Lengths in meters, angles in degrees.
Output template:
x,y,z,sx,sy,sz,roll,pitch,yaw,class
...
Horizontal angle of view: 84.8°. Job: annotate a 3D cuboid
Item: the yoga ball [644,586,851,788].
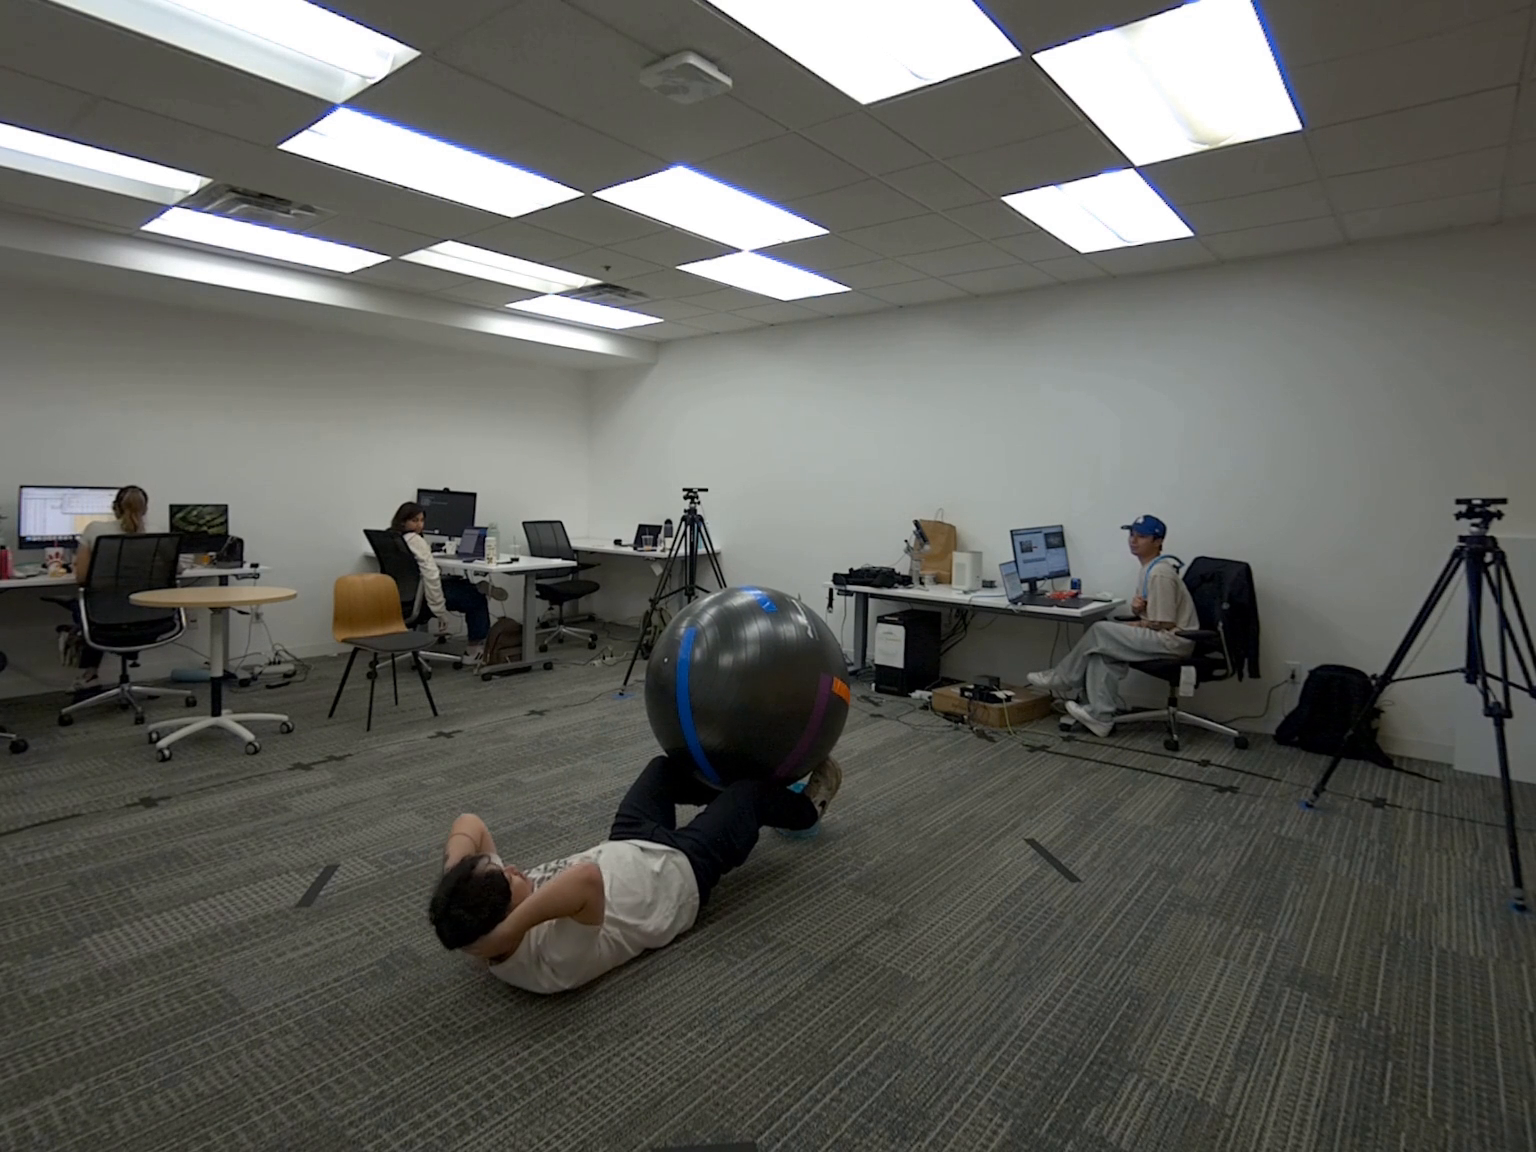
x,y,z,sx,sy,sz,roll,pitch,yaw,class
-0.089,0.408,3.152,0.757,0.755,0.762,1,4,-2,yoga ball
